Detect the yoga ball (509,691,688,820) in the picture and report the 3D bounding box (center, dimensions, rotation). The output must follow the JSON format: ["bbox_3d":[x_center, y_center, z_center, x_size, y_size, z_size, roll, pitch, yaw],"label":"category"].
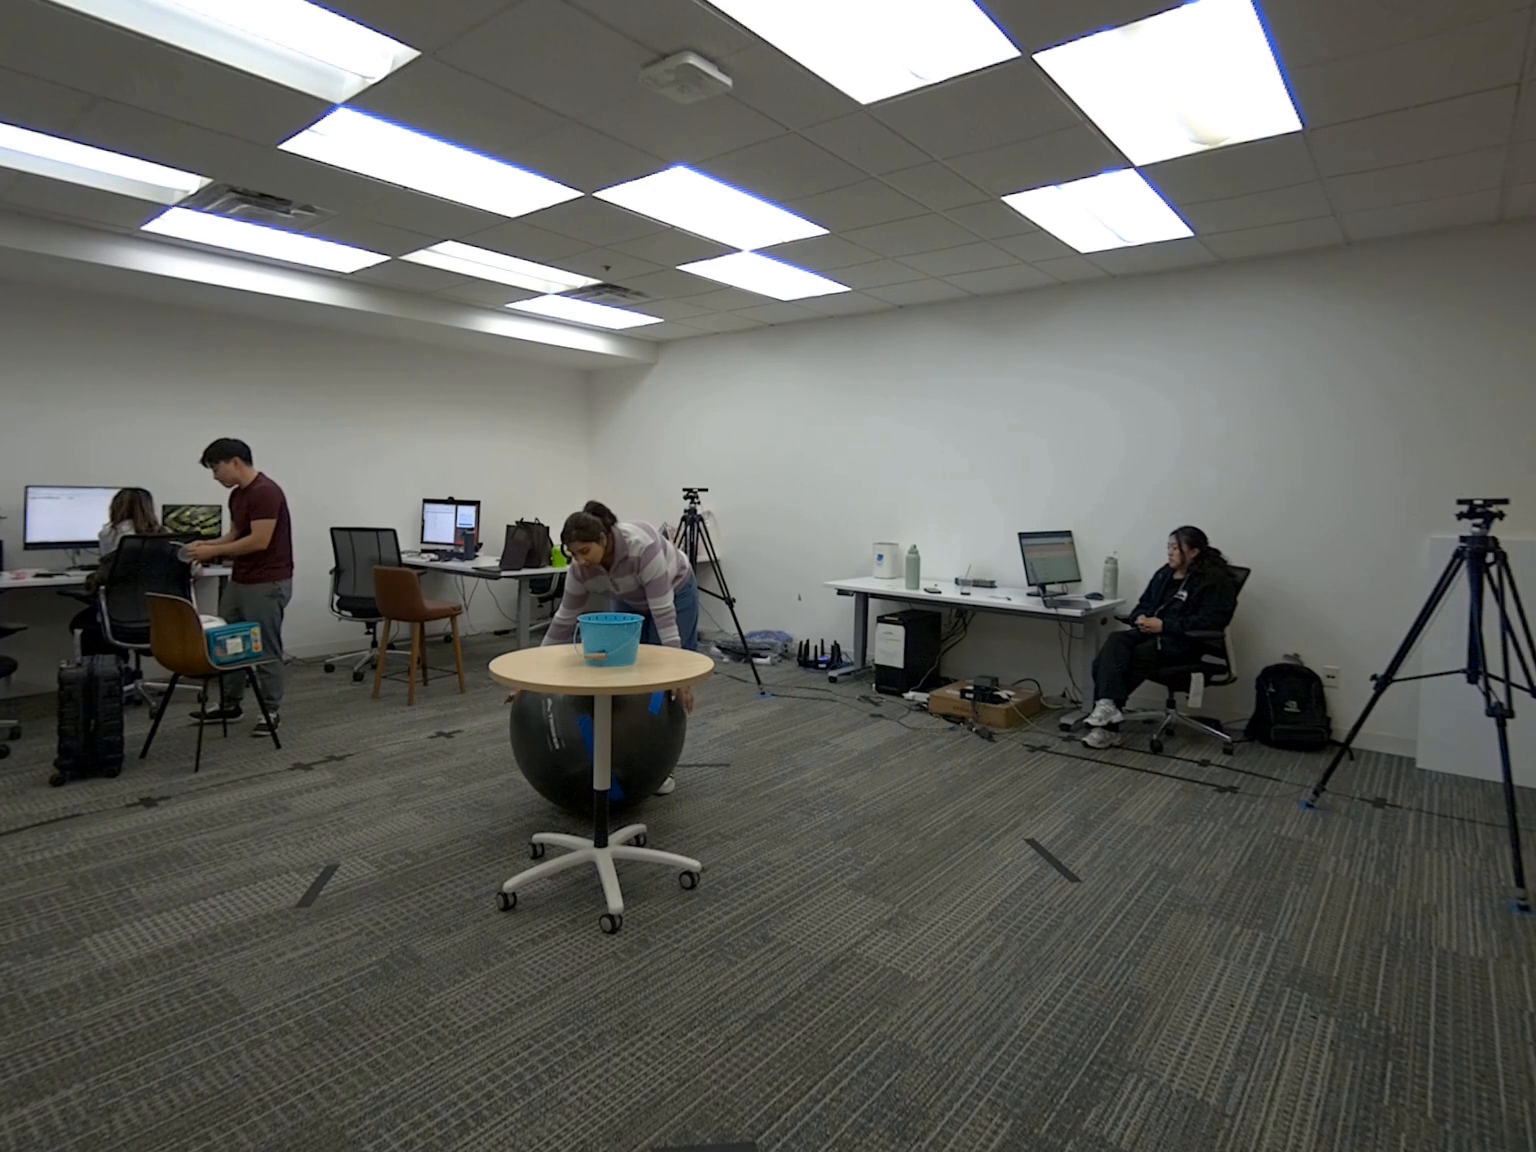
[{"bbox_3d":[-0.745,0.641,3.681,0.757,0.755,0.762,1,4,-2],"label":"yoga ball"}]
